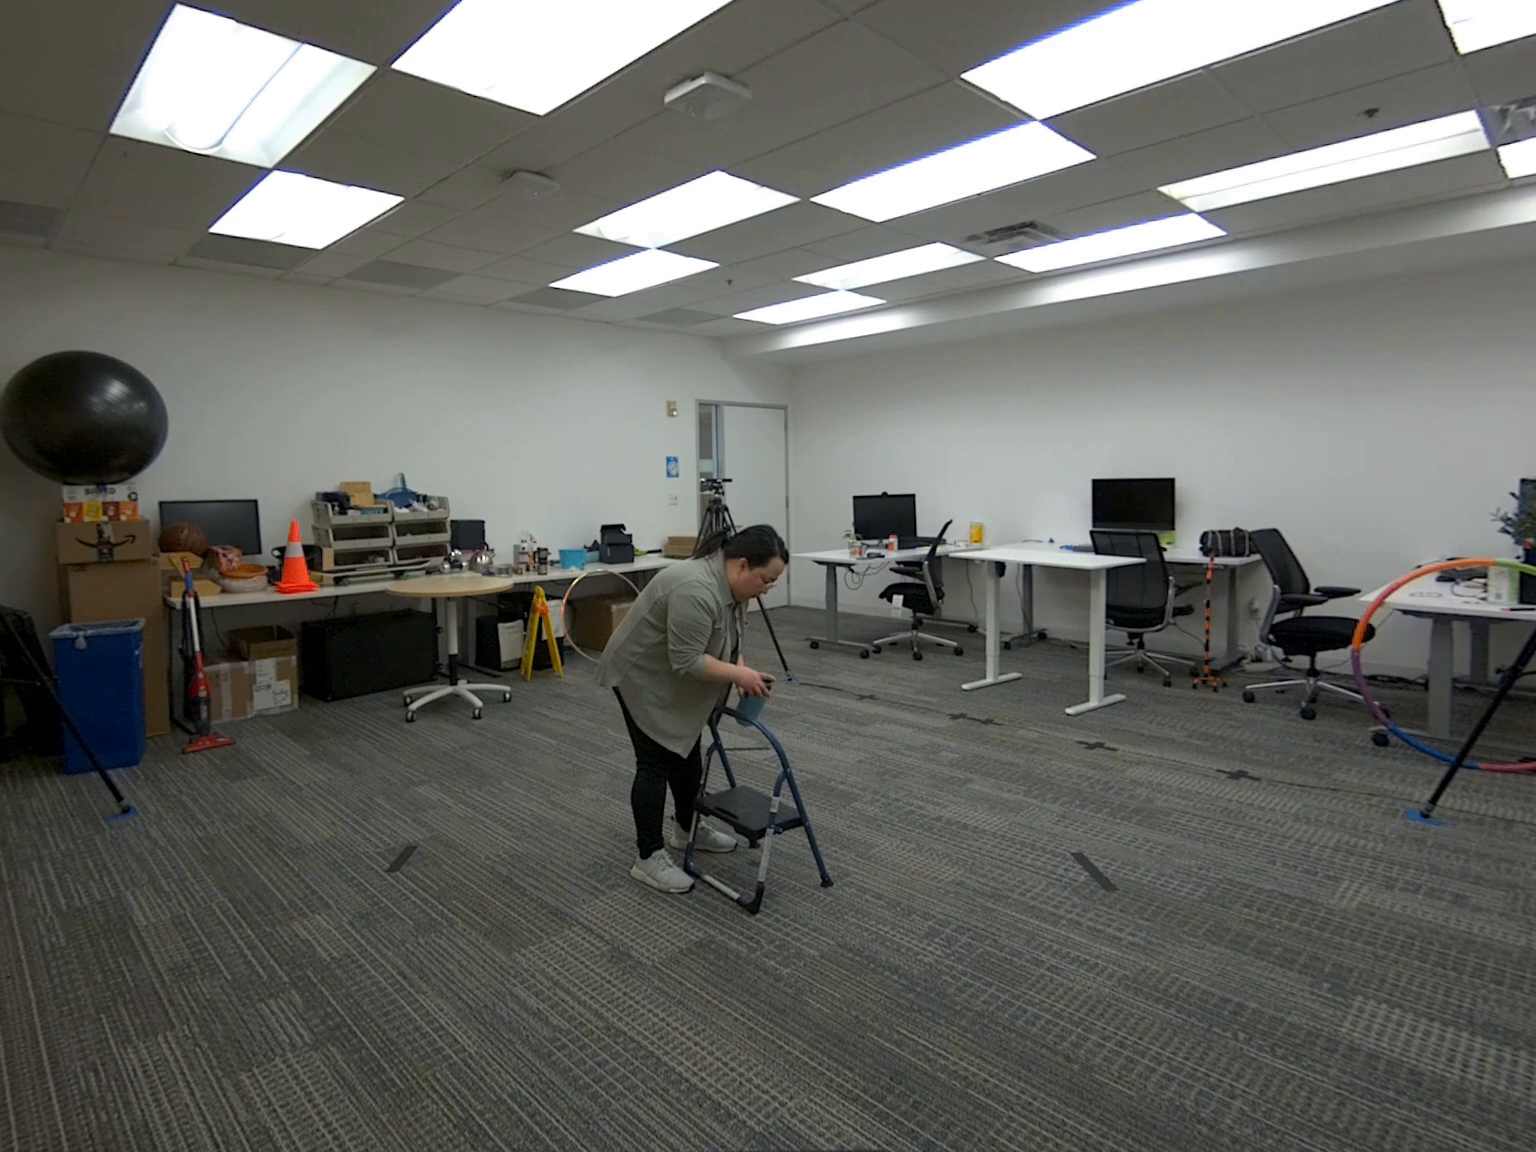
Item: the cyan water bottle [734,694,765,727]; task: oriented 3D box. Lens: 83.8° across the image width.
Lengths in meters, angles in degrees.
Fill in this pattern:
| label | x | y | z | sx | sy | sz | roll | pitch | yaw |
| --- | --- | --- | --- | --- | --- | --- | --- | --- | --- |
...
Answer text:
| label | x | y | z | sx | sy | sz | roll | pitch | yaw |
| --- | --- | --- | --- | --- | --- | --- | --- | --- | --- |
| cyan water bottle | -0.055 | 0.451 | 3.081 | 0.091 | 0.095 | 0.278 | -2 | -37 | -17 |
